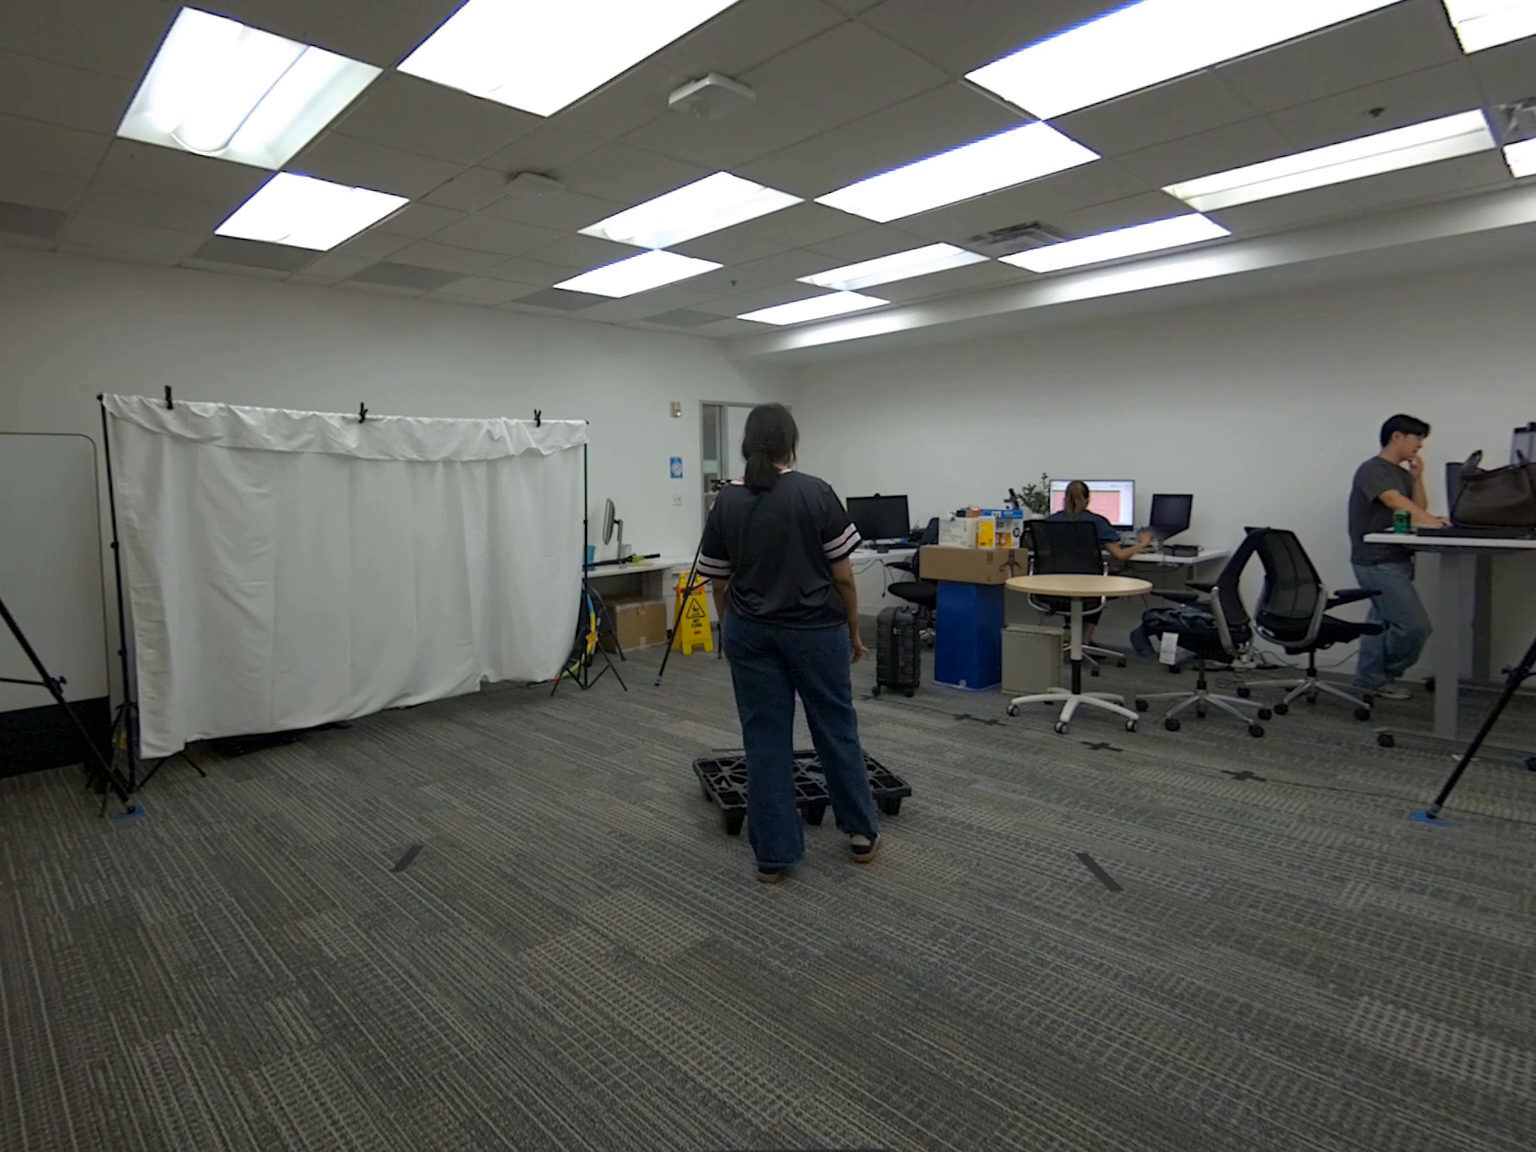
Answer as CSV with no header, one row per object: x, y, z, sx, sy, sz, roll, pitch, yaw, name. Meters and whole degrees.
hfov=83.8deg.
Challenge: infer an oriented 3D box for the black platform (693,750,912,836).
0.125,0.908,3.666,0.795,0.142,0.616,-3,7,-14,black platform
